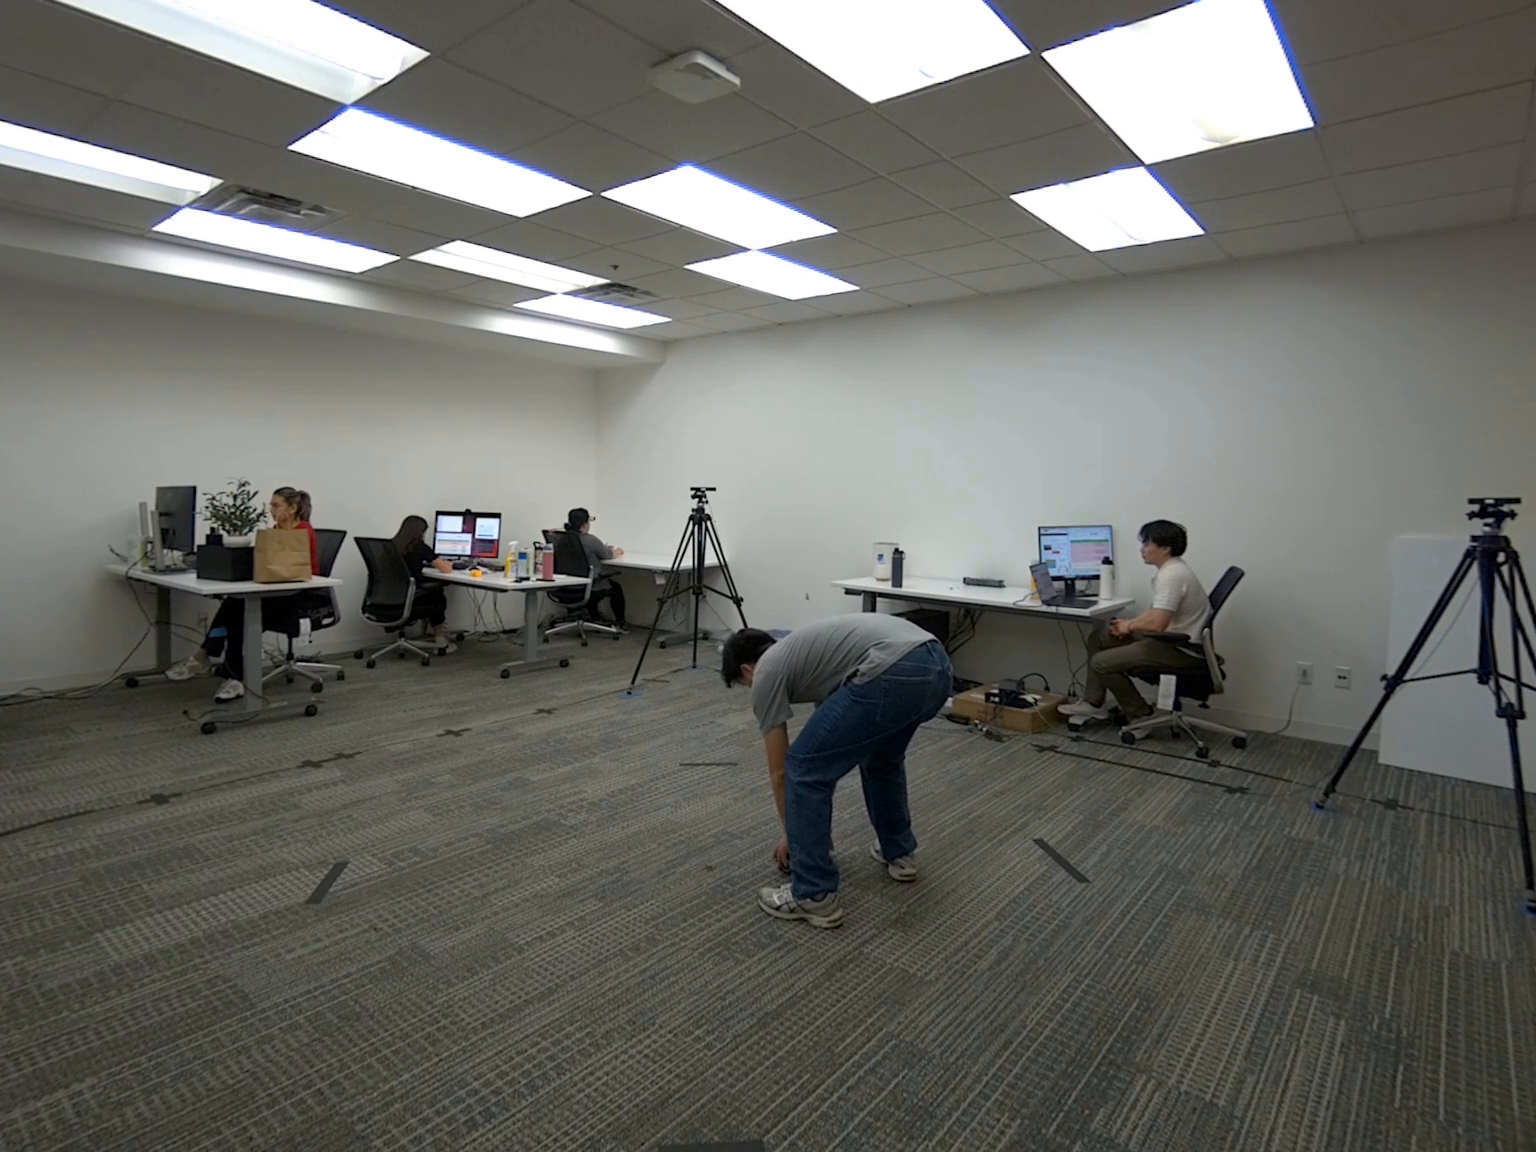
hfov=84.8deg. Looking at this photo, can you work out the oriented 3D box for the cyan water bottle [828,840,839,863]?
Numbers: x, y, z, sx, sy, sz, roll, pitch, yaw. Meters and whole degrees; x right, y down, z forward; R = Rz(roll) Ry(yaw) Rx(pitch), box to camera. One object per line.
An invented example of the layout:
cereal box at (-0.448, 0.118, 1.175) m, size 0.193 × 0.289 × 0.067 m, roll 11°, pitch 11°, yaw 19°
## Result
cyan water bottle at (0.125, 1.015, 3.163) m, size 0.095 × 0.092 × 0.275 m, roll 4°, pitch 7°, yaw 39°
